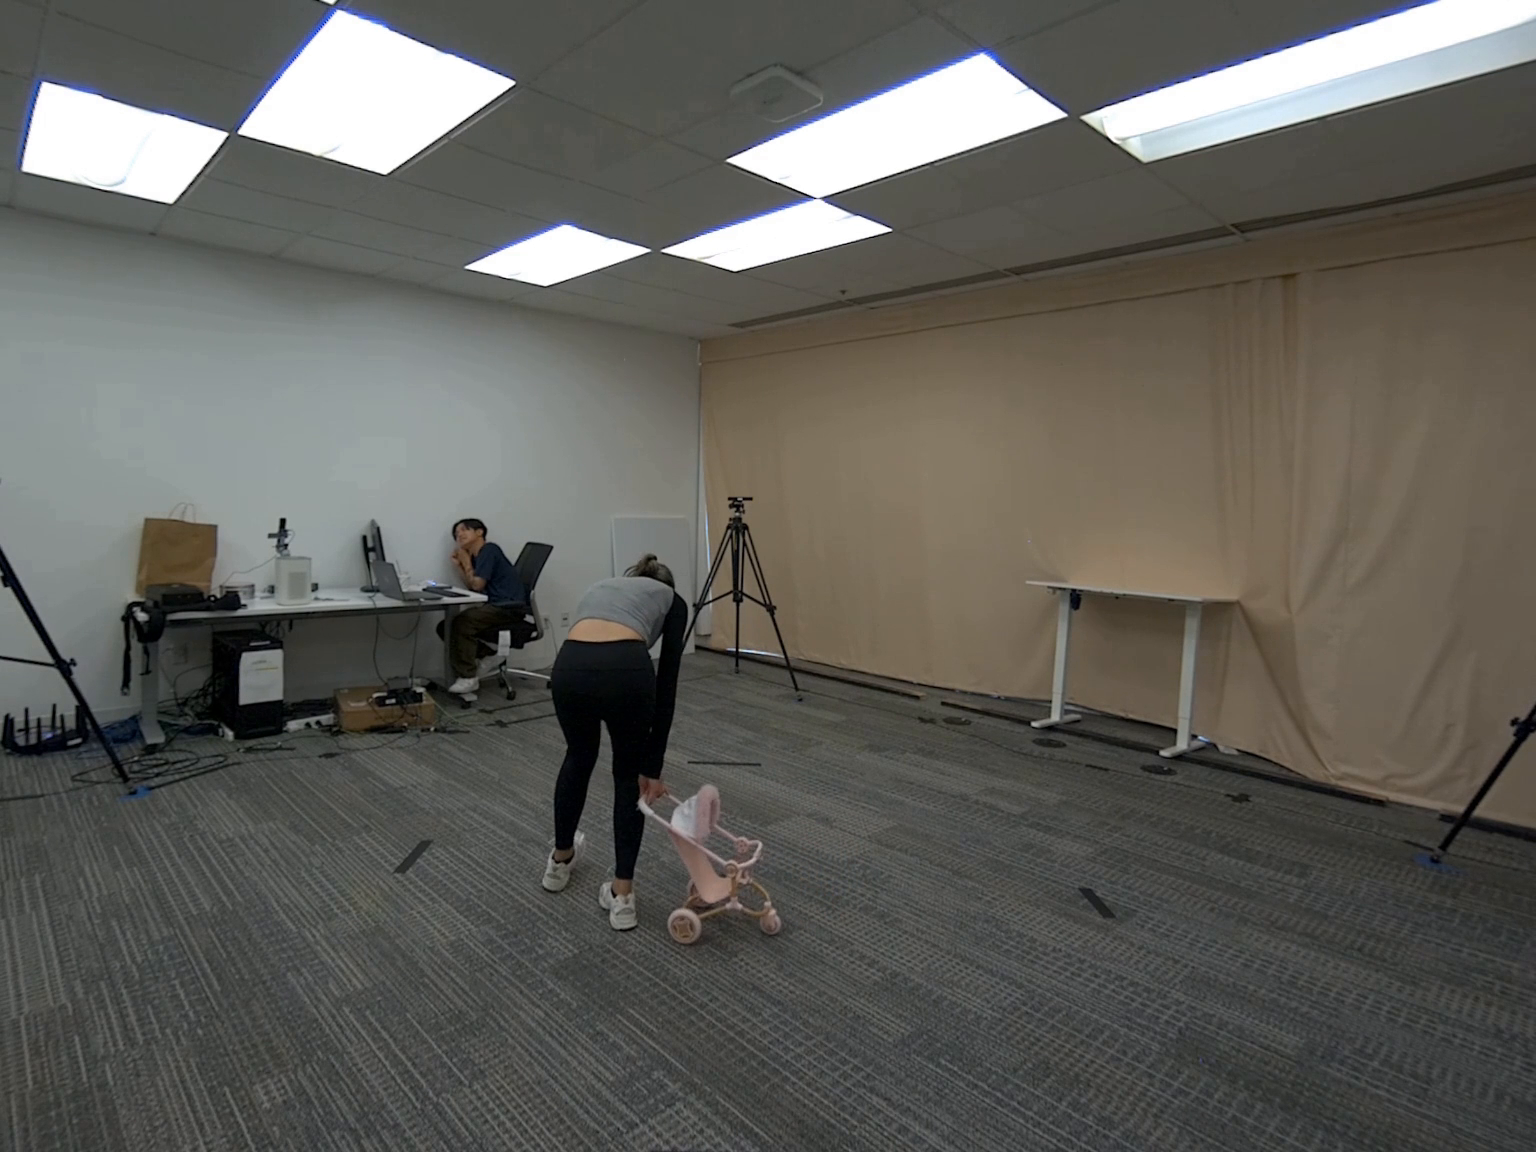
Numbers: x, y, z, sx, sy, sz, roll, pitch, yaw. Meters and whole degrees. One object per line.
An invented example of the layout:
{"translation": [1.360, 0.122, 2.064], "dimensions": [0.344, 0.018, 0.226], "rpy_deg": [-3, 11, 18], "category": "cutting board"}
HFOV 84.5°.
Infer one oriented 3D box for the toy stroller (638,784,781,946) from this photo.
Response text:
{"translation": [-0.184, 0.920, 2.715], "dimensions": [0.344, 0.536, 0.279], "rpy_deg": [-16, -1, 16], "category": "toy stroller"}
